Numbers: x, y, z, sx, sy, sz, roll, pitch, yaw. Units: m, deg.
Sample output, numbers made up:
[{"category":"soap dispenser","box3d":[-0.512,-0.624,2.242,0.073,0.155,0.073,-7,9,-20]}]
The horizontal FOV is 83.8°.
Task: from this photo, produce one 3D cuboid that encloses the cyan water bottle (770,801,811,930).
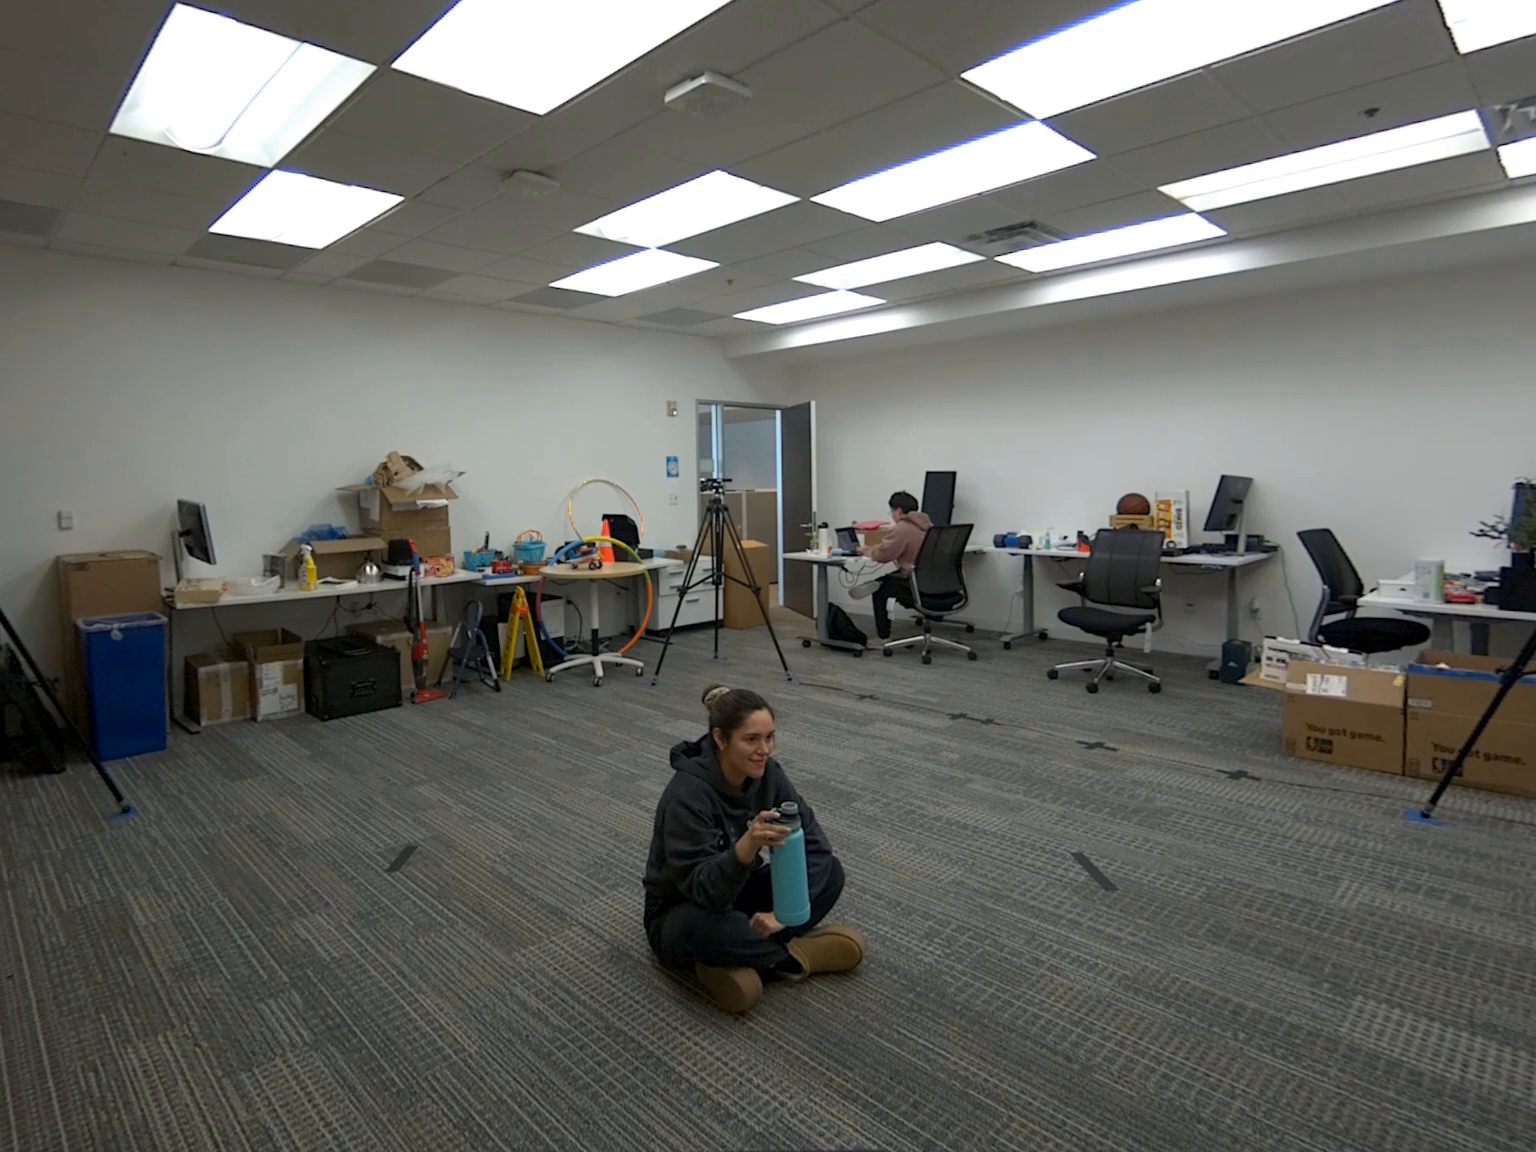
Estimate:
[{"category":"cyan water bottle","box3d":[0.048,0.702,2.119,0.092,0.282,0.093,-3,6,-1]}]
